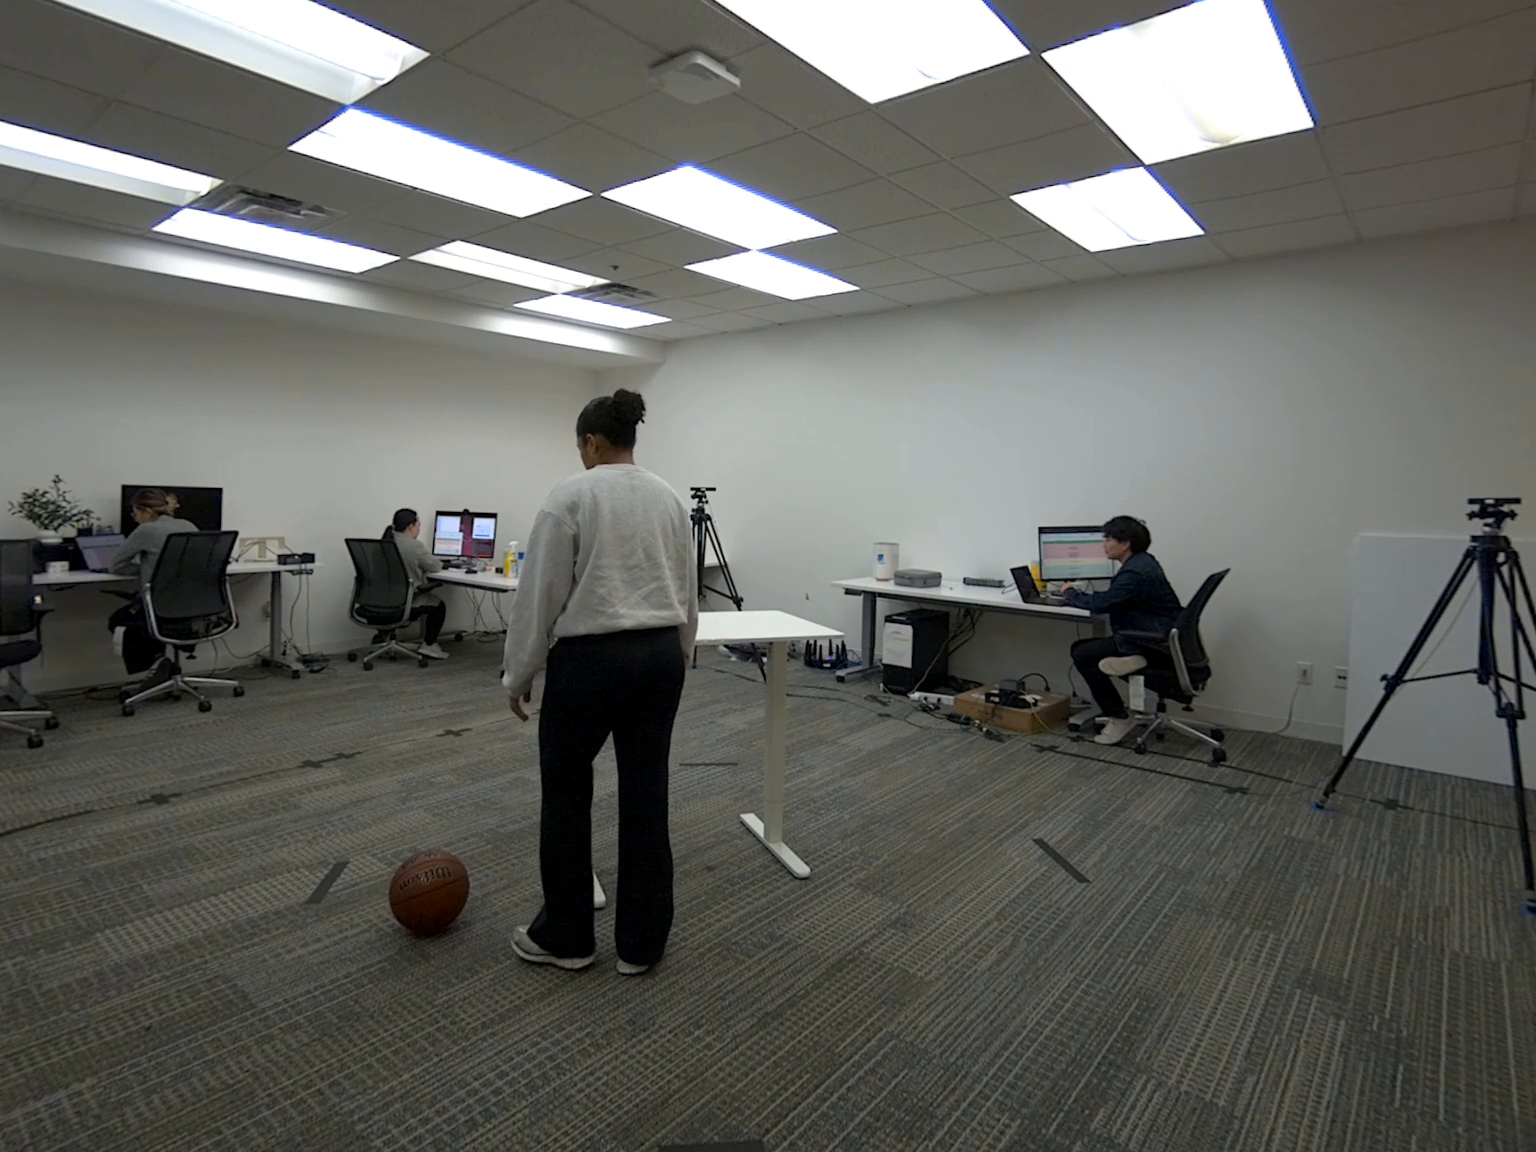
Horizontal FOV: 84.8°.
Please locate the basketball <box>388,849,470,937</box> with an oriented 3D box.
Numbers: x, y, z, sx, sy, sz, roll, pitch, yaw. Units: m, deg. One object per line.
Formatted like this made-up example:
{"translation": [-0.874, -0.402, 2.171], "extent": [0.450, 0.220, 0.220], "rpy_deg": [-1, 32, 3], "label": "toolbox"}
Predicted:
{"translation": [-1.065, 0.979, 2.650], "extent": [0.235, 0.235, 0.237], "rpy_deg": [1, 4, -2], "label": "basketball"}
